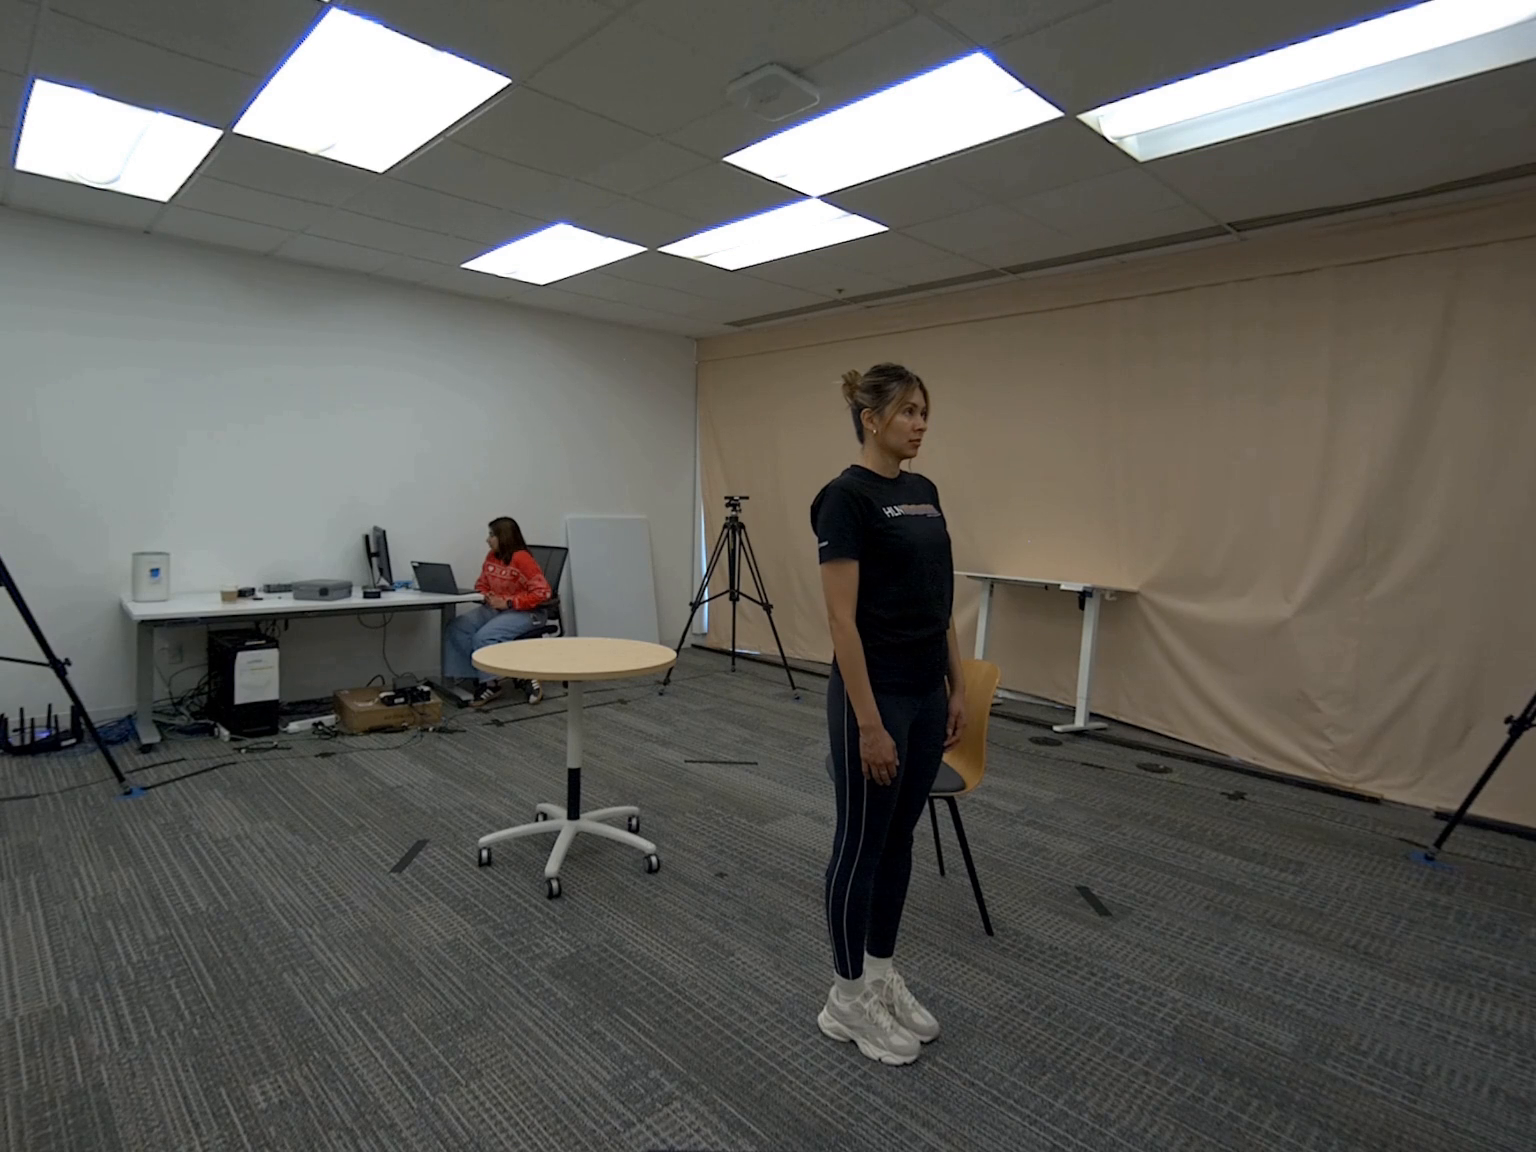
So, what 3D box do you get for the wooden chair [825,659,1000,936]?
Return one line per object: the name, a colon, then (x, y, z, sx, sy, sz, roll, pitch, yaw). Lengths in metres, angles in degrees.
wooden chair: (0.474, 0.716, 2.877, 0.520, 0.875, 0.482, 5, 3, -8)
